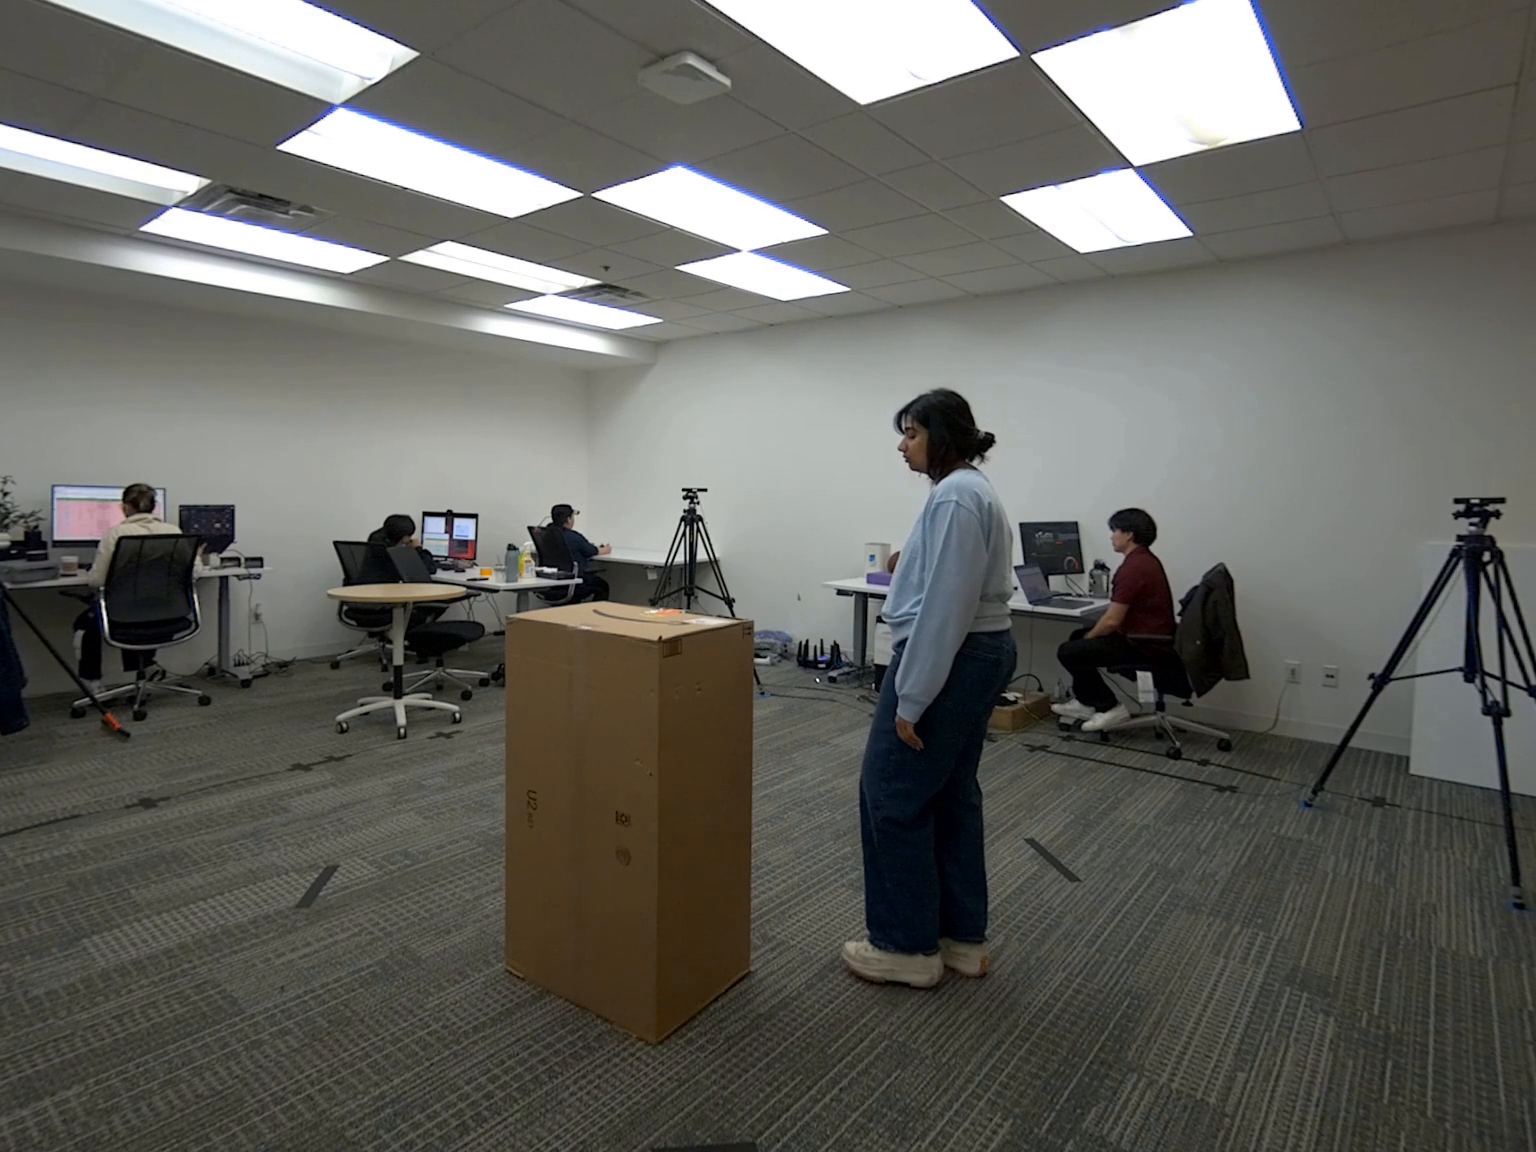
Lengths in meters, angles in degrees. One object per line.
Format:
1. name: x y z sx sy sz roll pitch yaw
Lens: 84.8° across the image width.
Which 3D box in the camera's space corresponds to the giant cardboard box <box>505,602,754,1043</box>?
1. giant cardboard box: -0.404 0.623 2.429 0.603 1.024 0.434 3 3 35
